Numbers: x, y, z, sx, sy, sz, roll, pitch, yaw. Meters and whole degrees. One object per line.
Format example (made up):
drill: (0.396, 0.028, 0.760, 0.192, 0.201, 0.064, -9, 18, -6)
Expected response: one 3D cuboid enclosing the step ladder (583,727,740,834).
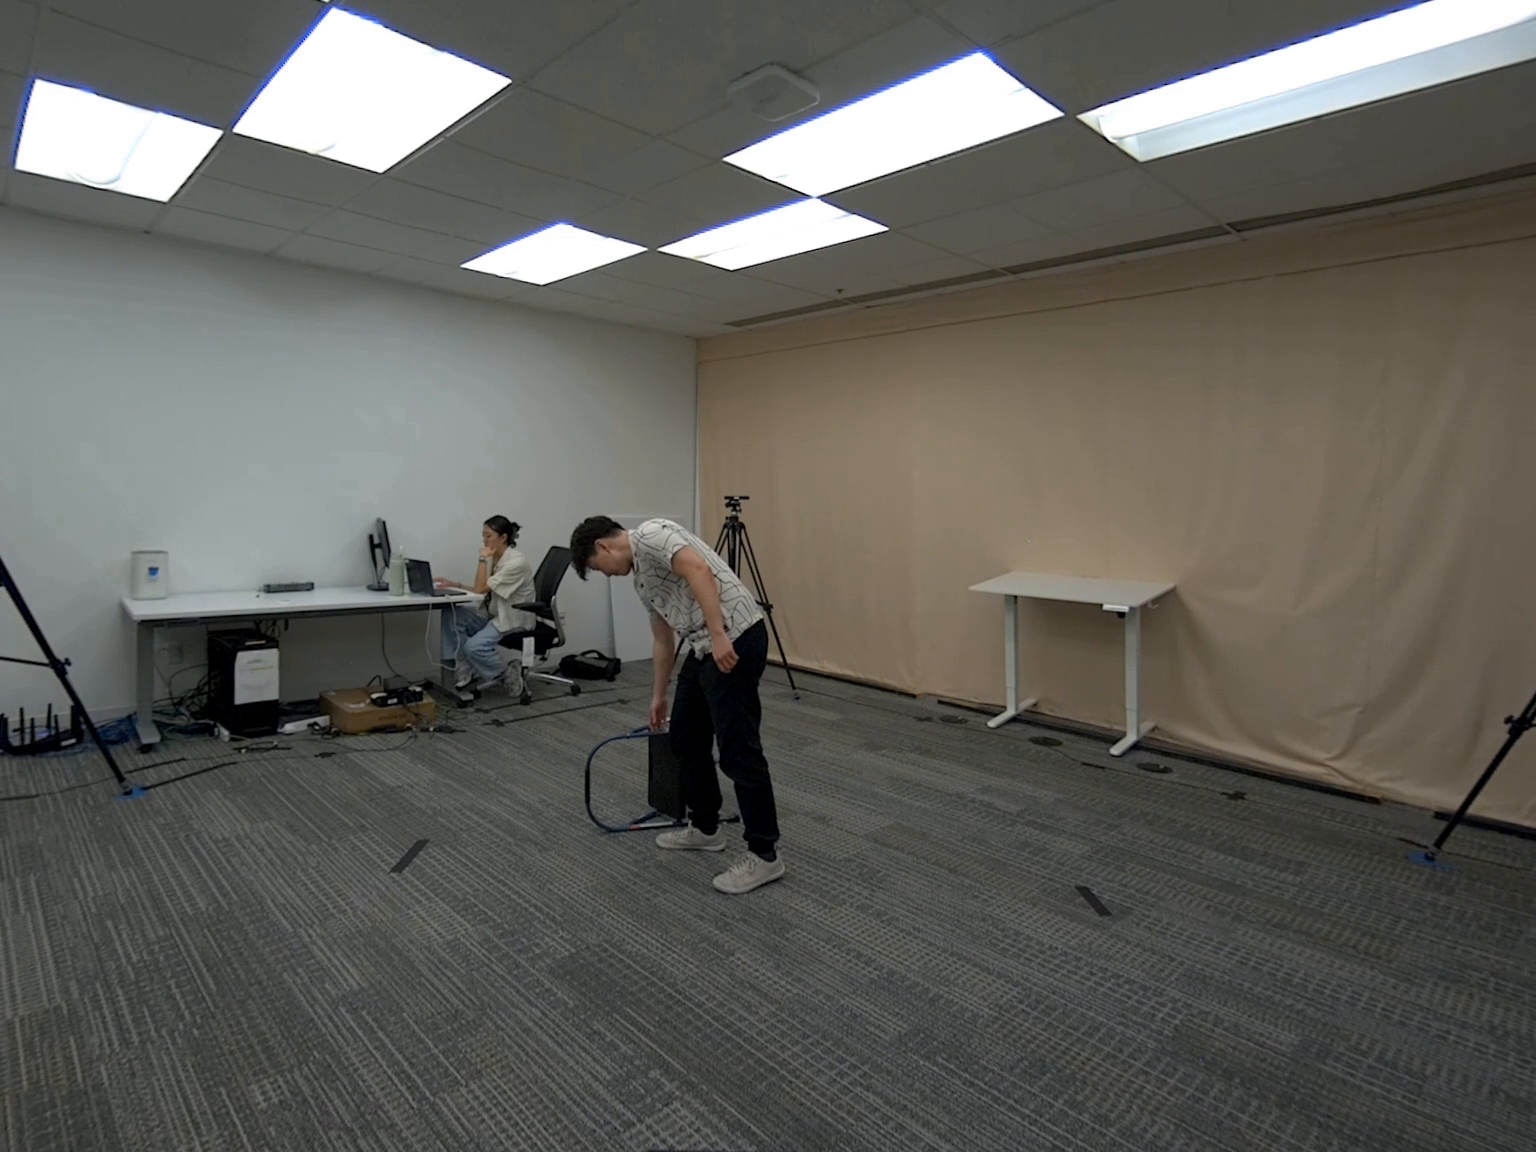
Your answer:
step ladder: (-0.474, 0.846, 3.559, 0.593, 0.429, 0.358, -3, 5, -39)
